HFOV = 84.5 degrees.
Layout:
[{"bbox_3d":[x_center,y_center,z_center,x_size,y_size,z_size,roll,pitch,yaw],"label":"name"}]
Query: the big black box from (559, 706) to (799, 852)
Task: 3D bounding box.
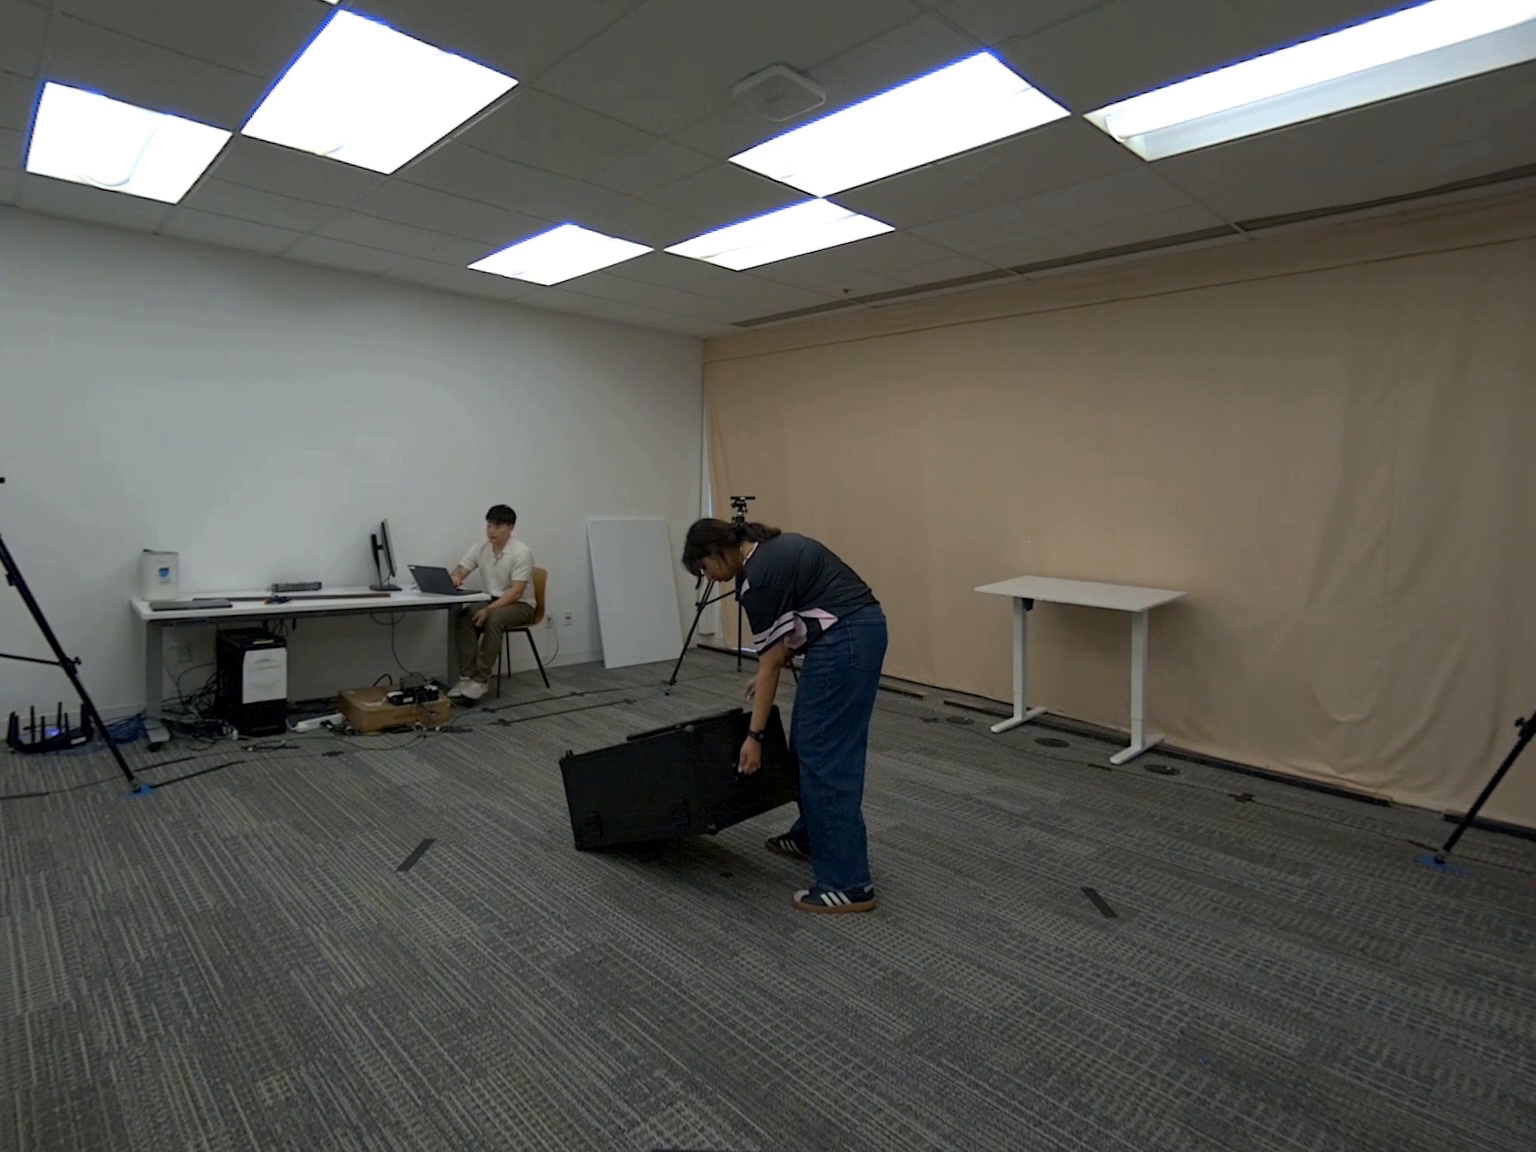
[{"bbox_3d":[-0.396,0.792,3.269,0.880,0.388,0.512,-22,-10,40],"label":"big black box"}]
